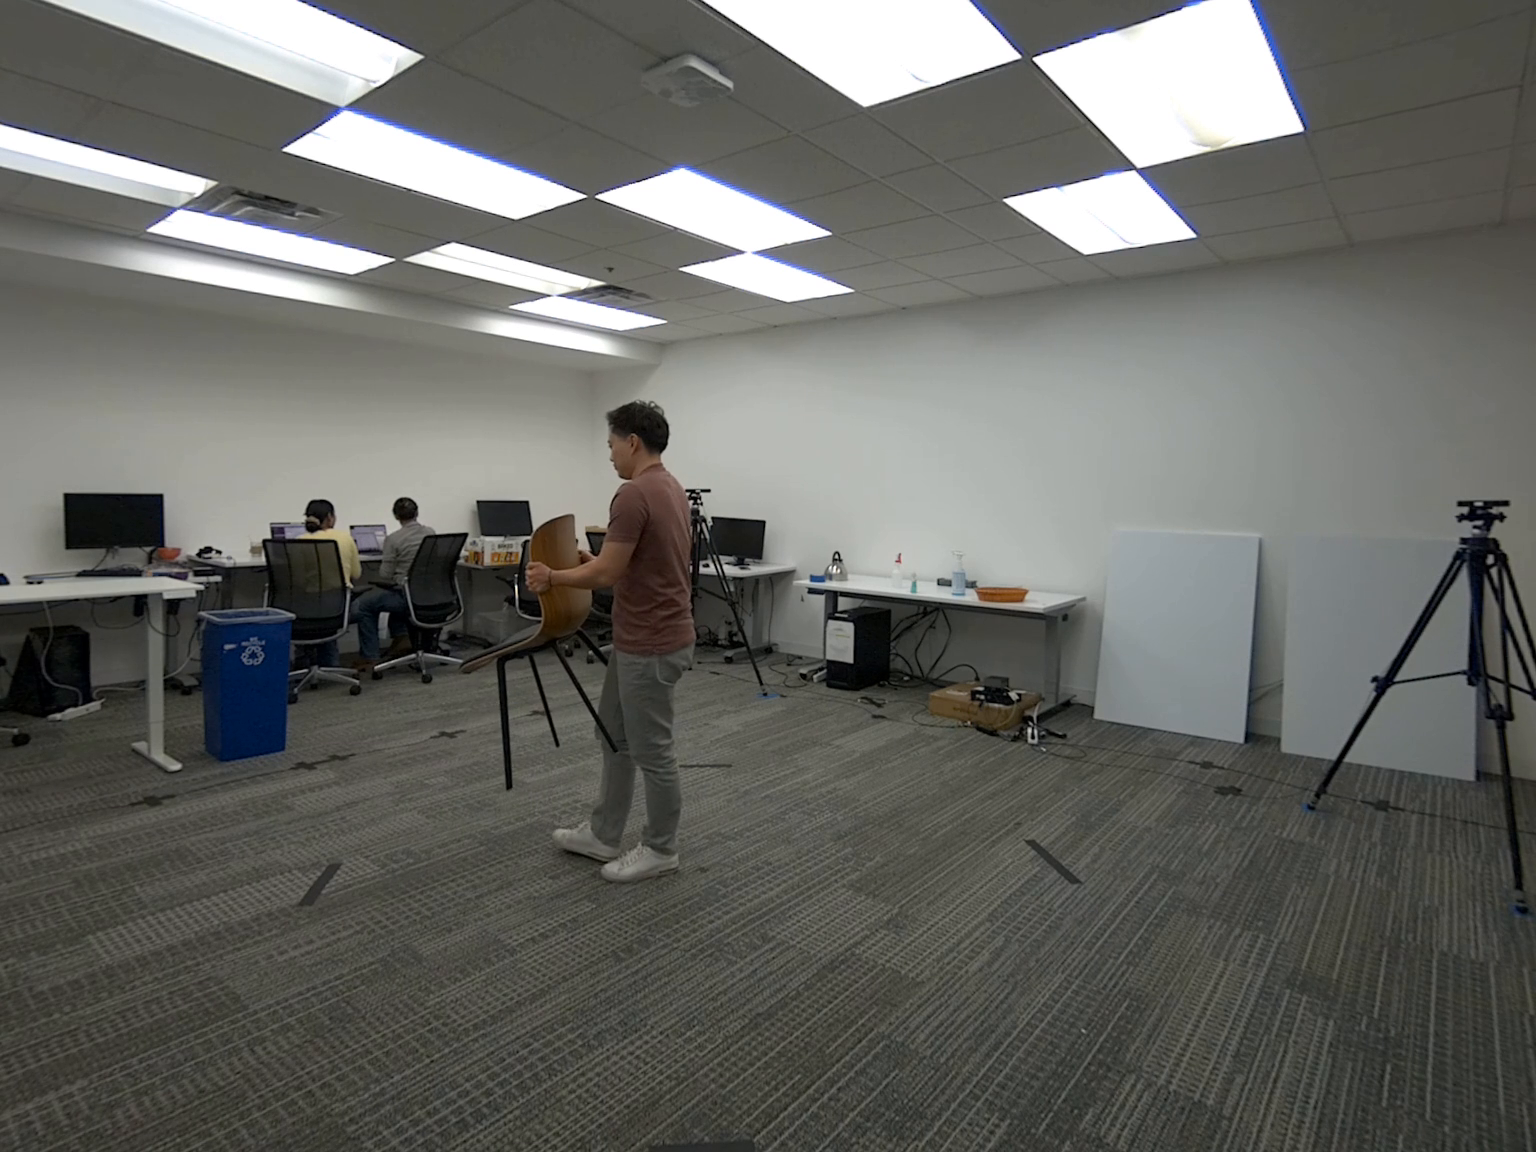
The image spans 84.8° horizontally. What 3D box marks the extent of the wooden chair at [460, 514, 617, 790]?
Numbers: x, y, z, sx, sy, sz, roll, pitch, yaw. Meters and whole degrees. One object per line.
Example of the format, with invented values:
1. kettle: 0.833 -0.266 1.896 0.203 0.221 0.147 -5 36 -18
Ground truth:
1. wooden chair: -0.875 0.268 3.188 0.528 0.873 0.476 -17 4 12
